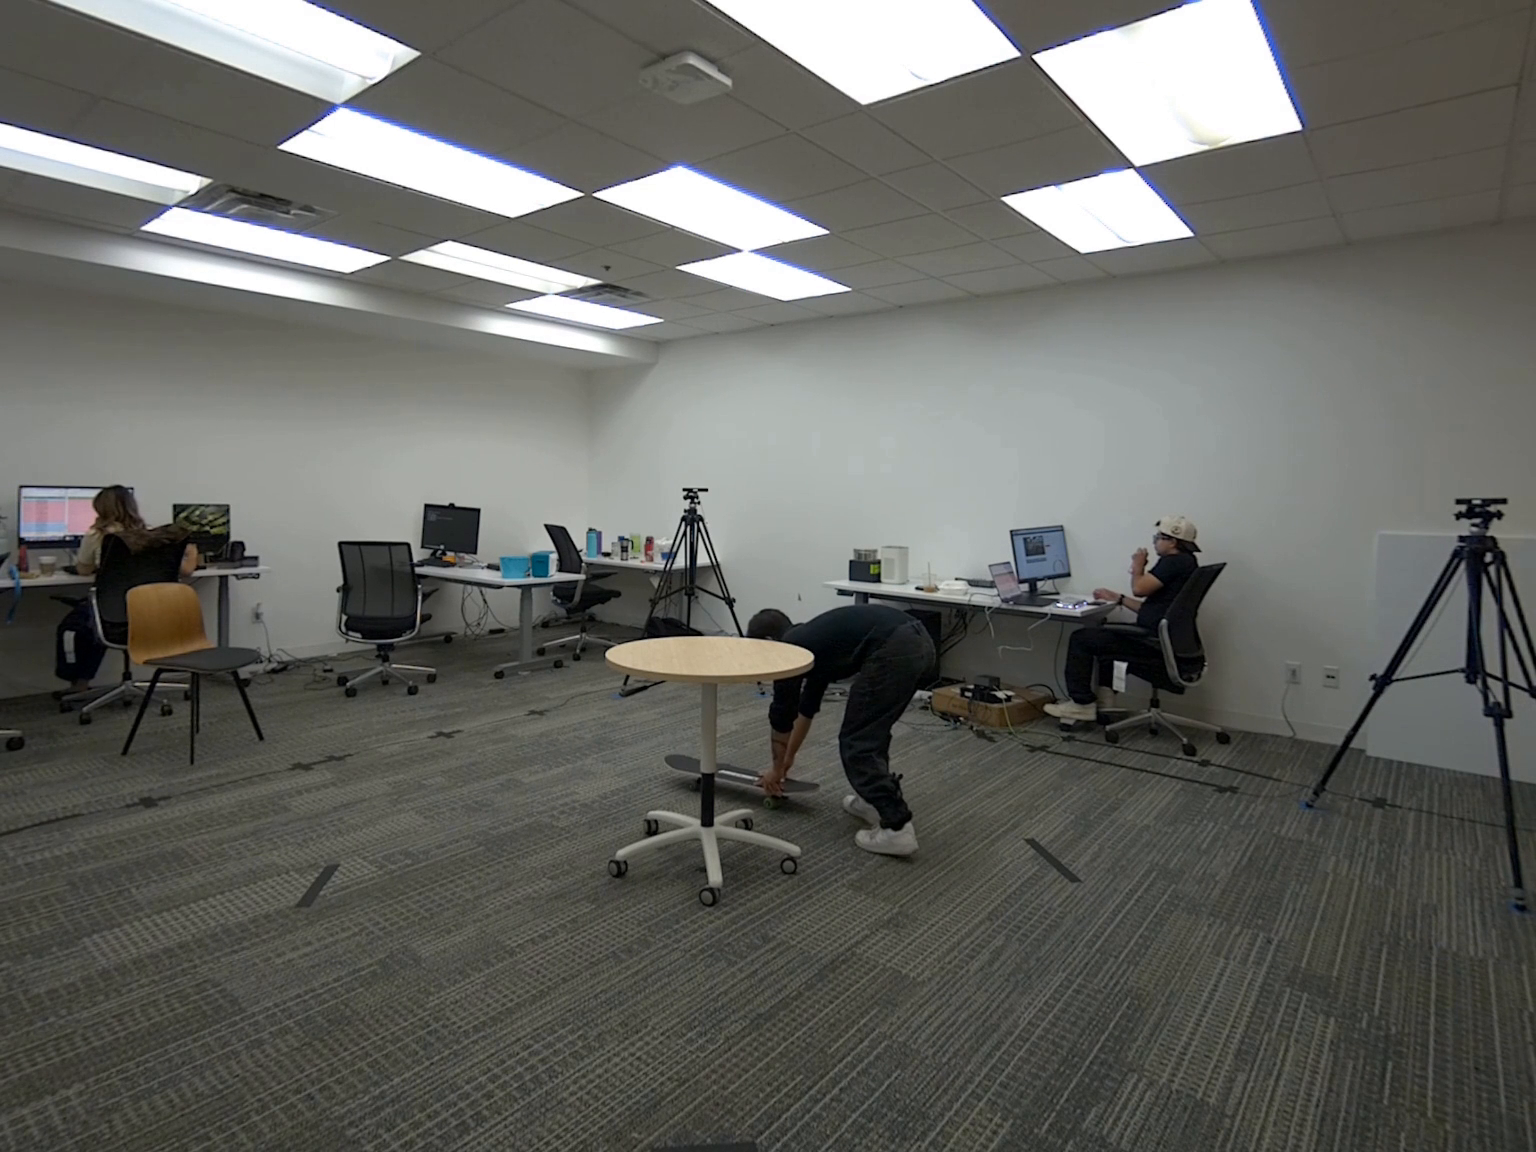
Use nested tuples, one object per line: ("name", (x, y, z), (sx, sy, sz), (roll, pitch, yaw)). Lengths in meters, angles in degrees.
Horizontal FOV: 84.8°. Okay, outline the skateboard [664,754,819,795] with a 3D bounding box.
("skateboard", (-0.148, 0.940, 3.891), (0.808, 0.110, 0.189), (5, 6, 28))
